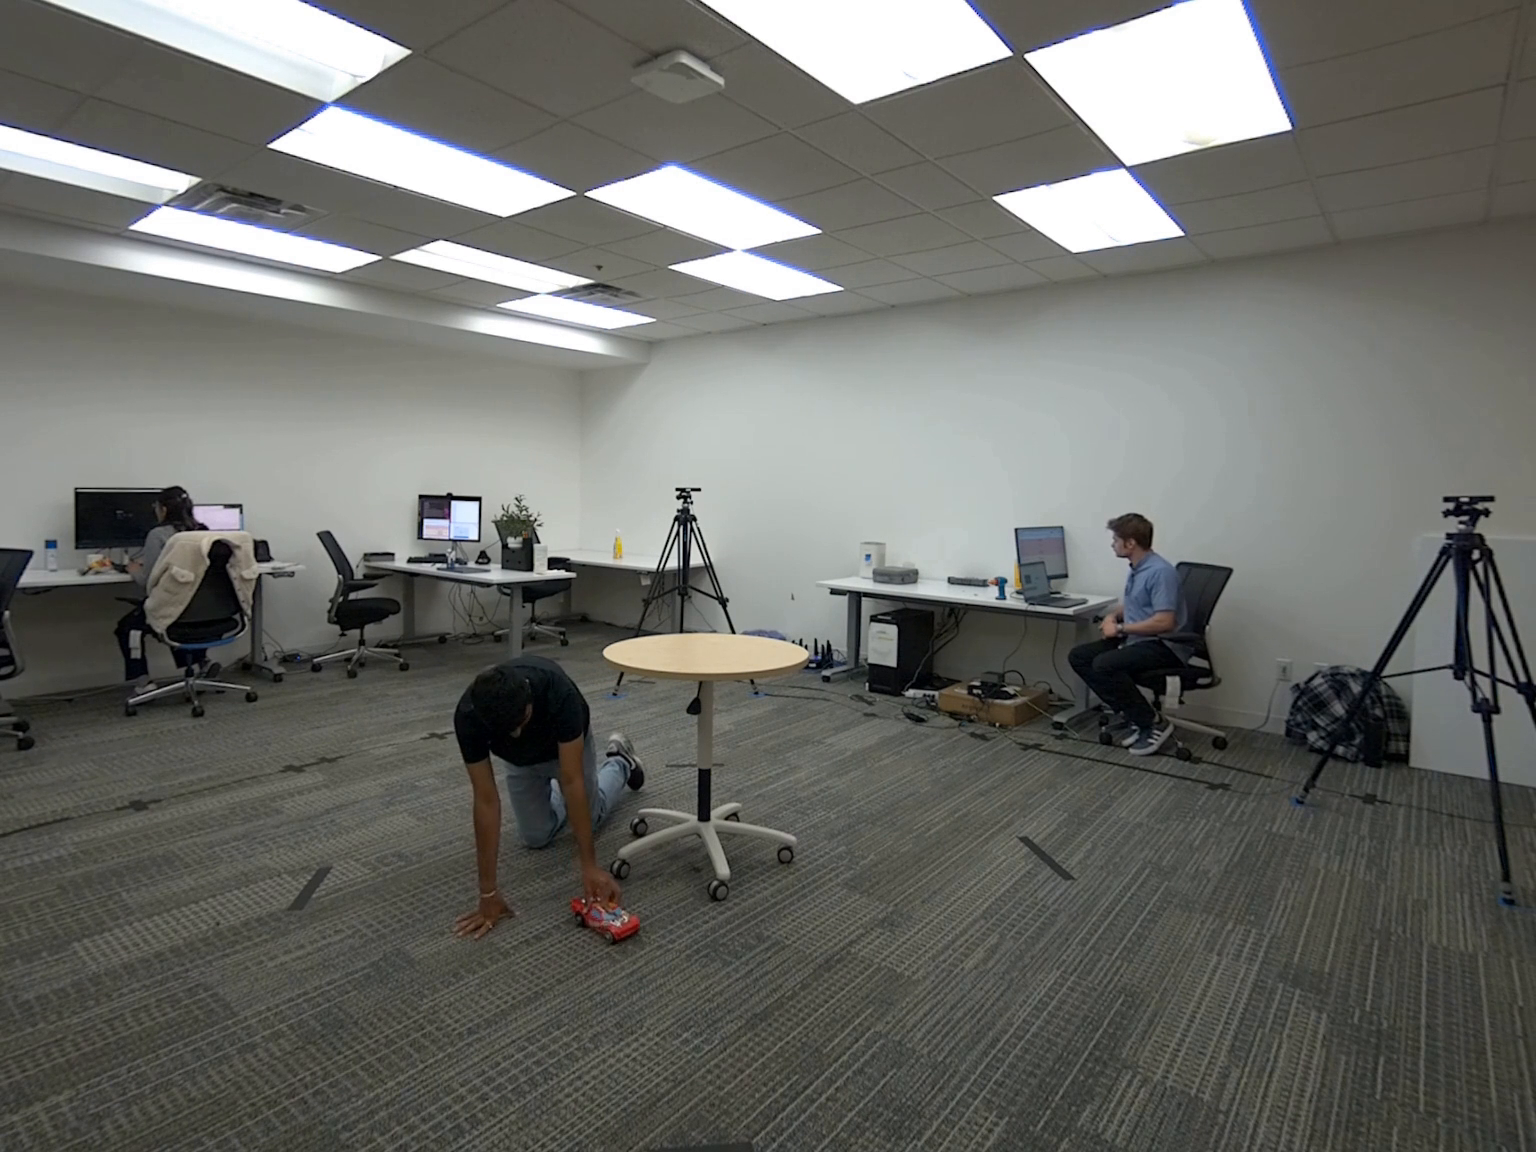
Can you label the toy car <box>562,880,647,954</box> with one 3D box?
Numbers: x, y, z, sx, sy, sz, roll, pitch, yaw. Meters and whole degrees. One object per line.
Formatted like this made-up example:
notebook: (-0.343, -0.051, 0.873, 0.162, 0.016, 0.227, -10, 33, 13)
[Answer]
toy car: (-0.526, 1.070, 2.681, 0.264, 0.082, 0.126, 18, 16, 40)
